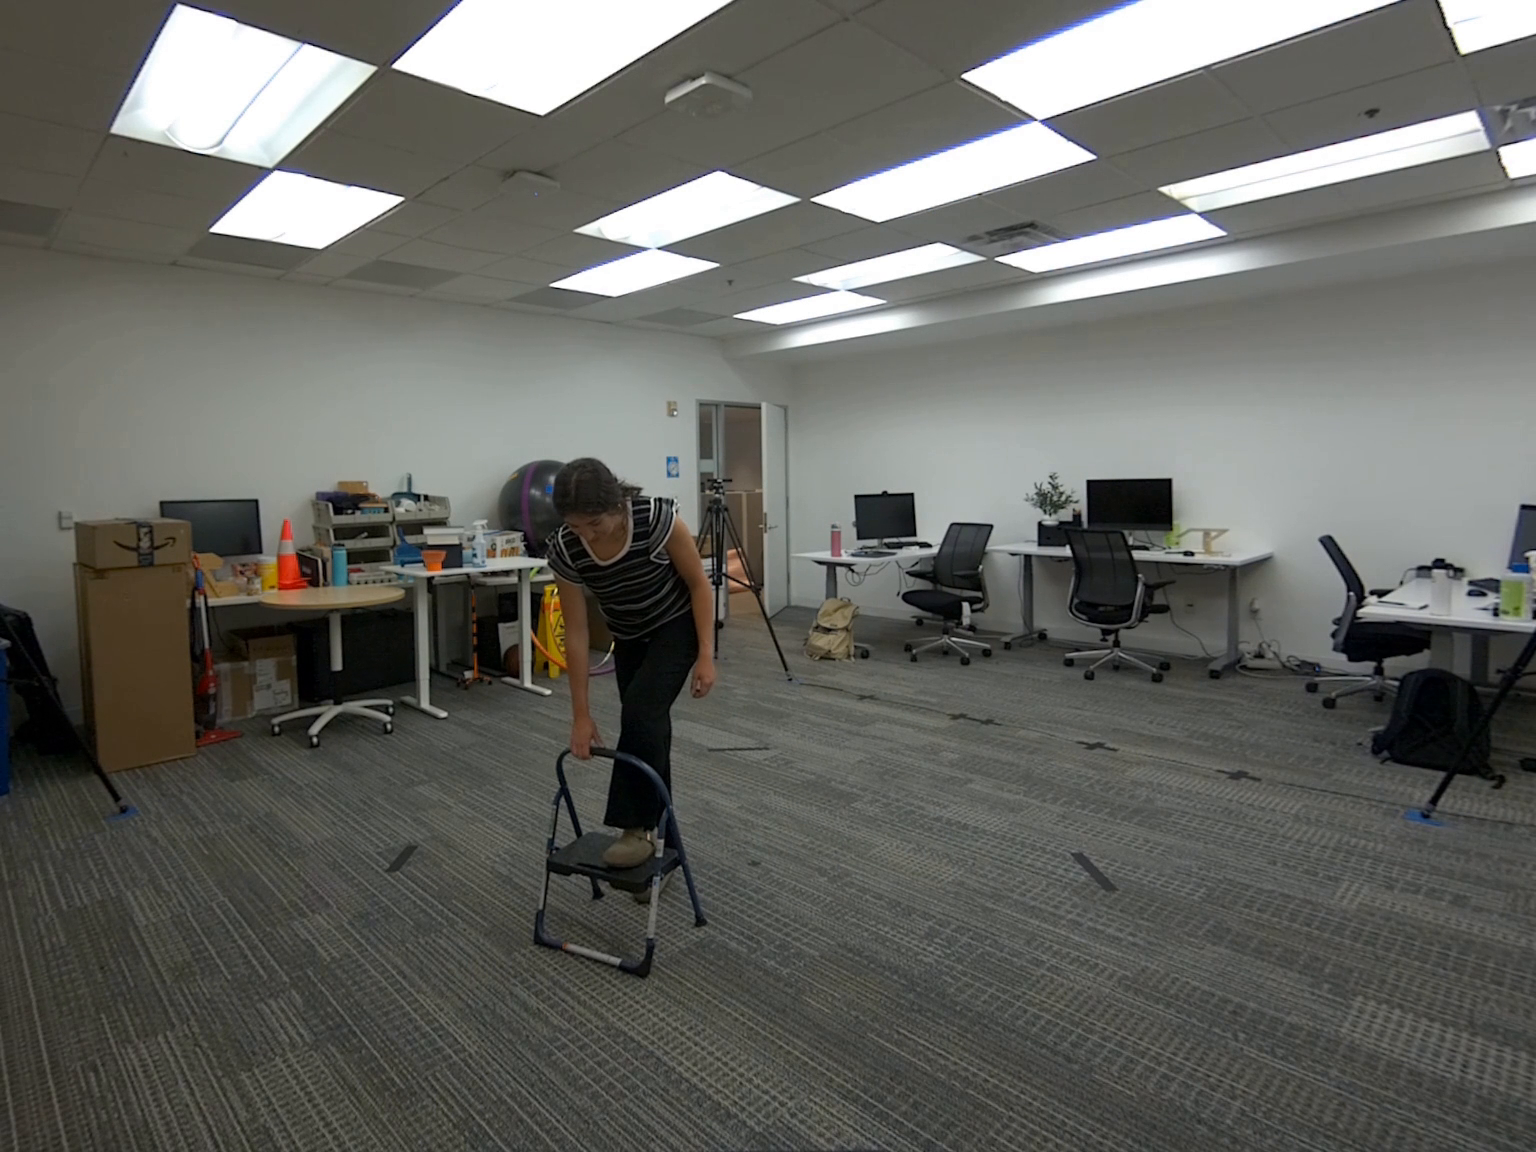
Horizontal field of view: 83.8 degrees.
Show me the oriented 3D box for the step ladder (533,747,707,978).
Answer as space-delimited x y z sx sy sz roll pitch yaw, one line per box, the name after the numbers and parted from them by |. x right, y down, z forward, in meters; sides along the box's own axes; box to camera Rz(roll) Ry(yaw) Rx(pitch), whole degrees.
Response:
-0.461 0.808 2.628 0.441 0.603 0.342 1 5 26 | step ladder
